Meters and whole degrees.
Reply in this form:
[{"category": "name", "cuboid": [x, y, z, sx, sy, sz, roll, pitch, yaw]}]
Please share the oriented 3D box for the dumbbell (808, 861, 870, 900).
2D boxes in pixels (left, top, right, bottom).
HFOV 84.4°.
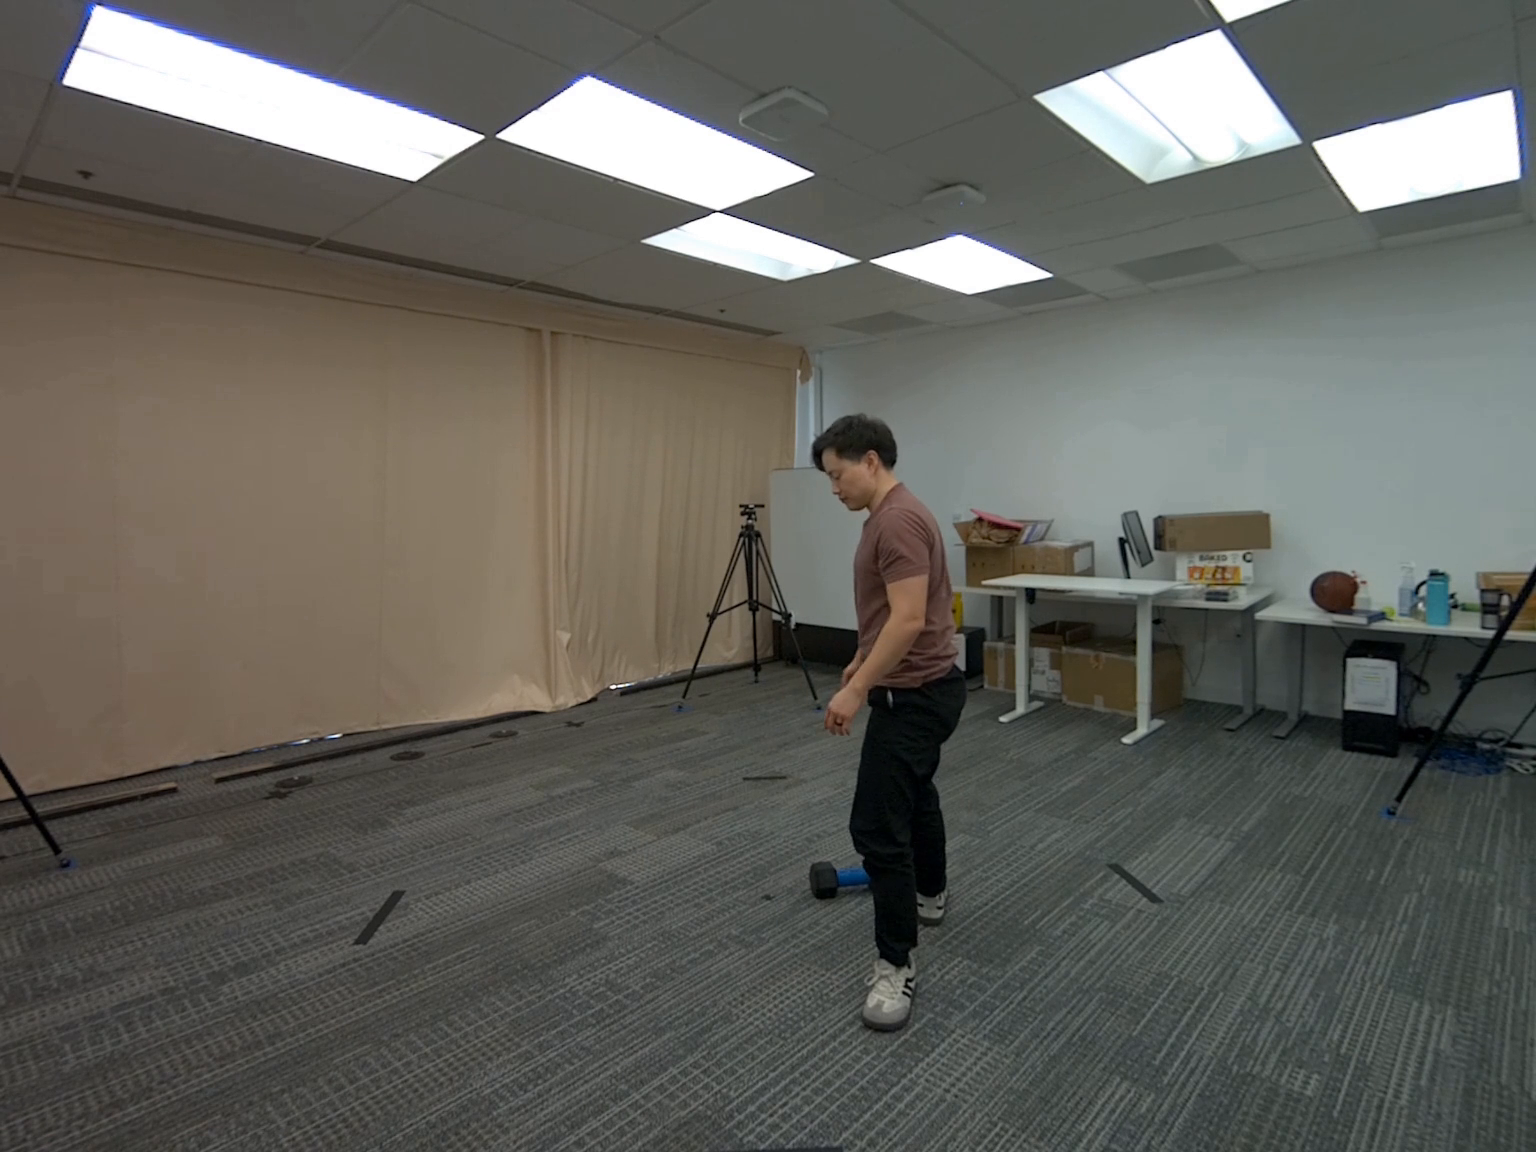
[{"category": "dumbbell", "cuboid": [0.307, 1.078, 3.008, 0.291, 0.125, 0.108, -2, -26, -9]}]
